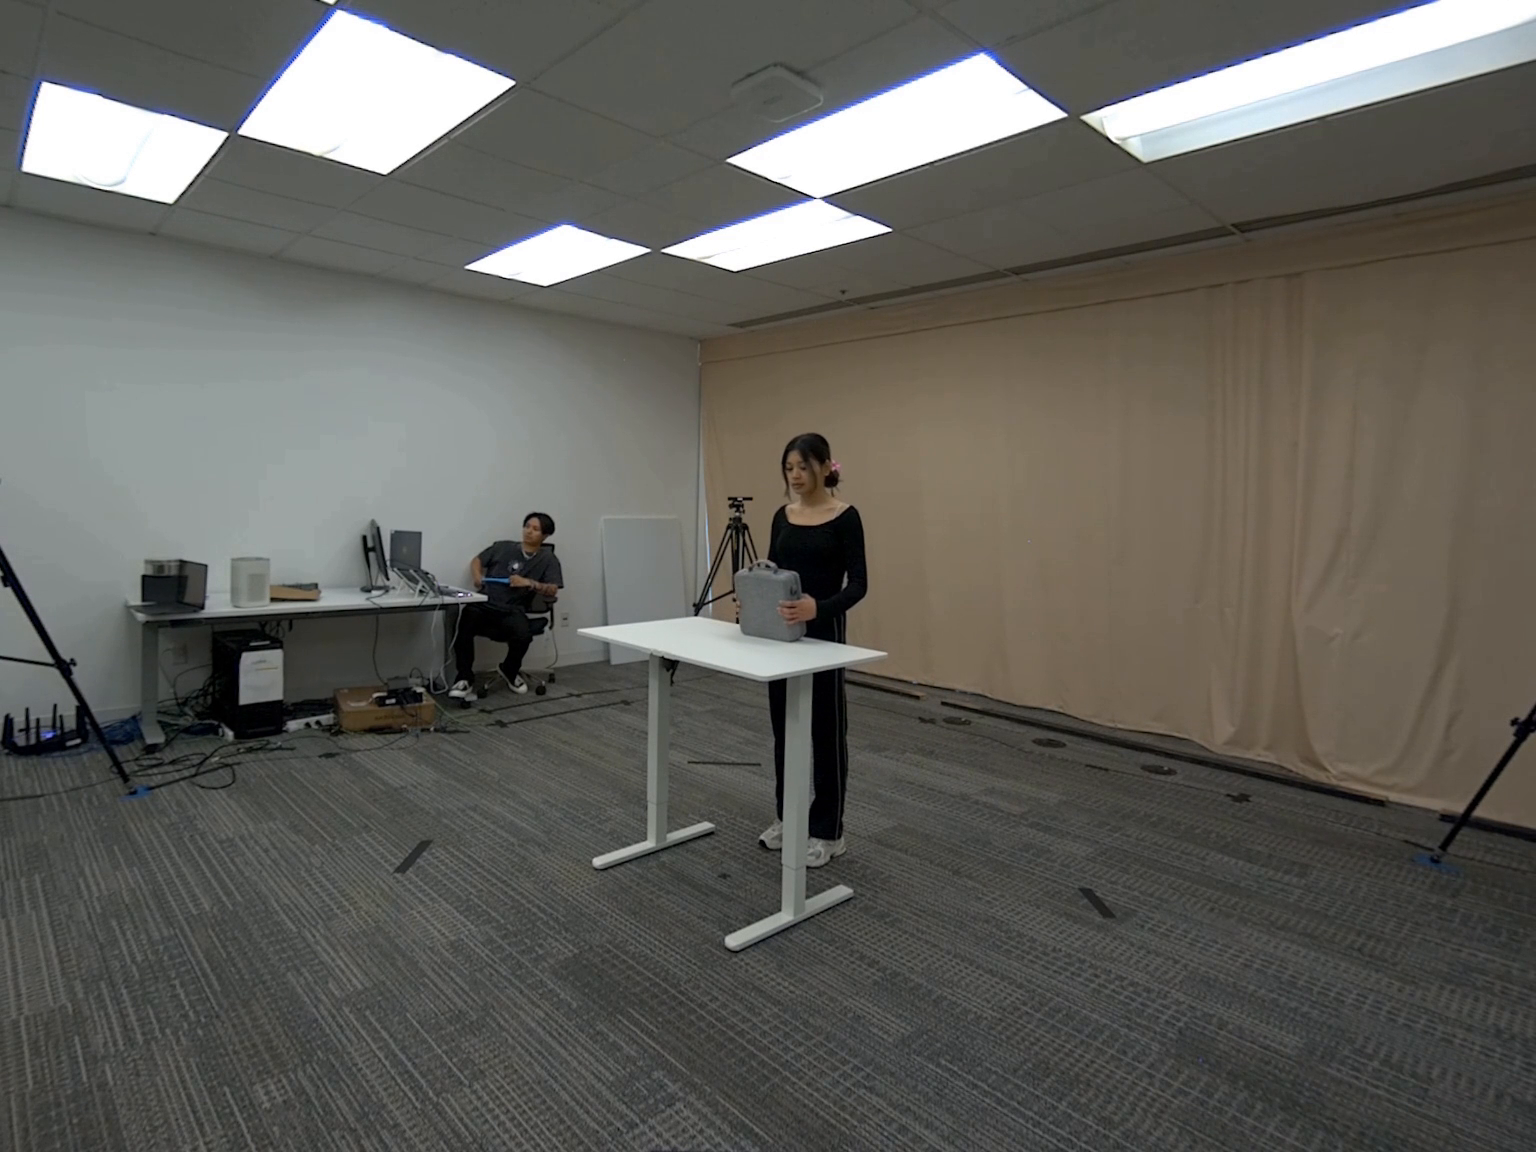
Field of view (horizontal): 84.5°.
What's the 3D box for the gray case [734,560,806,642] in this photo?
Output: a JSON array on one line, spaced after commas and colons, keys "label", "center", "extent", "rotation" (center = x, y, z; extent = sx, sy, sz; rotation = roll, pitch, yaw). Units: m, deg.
[{"label": "gray case", "center": [-0.003, 0.099, 3.076], "extent": [0.263, 0.258, 0.103], "rotation": [4, 17, 41]}]
